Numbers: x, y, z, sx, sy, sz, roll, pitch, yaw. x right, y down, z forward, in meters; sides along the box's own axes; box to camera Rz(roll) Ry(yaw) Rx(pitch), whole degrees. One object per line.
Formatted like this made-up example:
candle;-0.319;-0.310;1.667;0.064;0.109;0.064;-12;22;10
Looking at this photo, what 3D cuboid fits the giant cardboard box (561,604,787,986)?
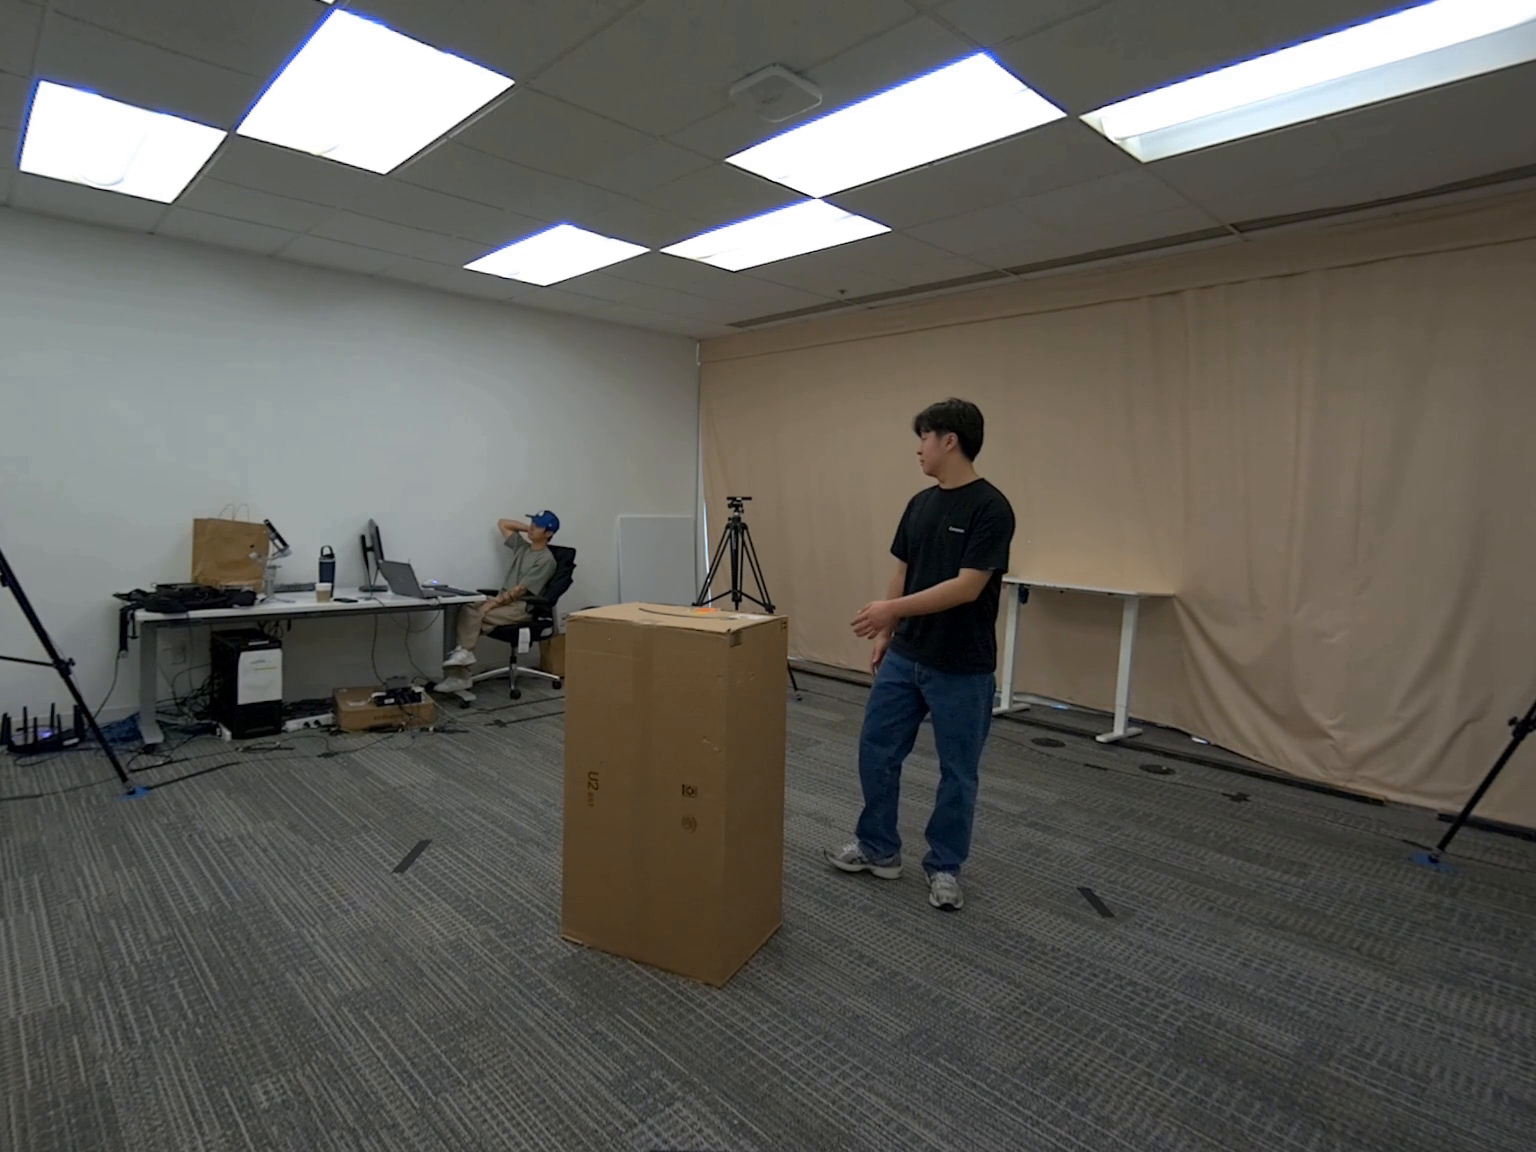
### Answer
giant cardboard box;-0.295;0.632;2.675;0.596;1.025;0.438;3;2;27
